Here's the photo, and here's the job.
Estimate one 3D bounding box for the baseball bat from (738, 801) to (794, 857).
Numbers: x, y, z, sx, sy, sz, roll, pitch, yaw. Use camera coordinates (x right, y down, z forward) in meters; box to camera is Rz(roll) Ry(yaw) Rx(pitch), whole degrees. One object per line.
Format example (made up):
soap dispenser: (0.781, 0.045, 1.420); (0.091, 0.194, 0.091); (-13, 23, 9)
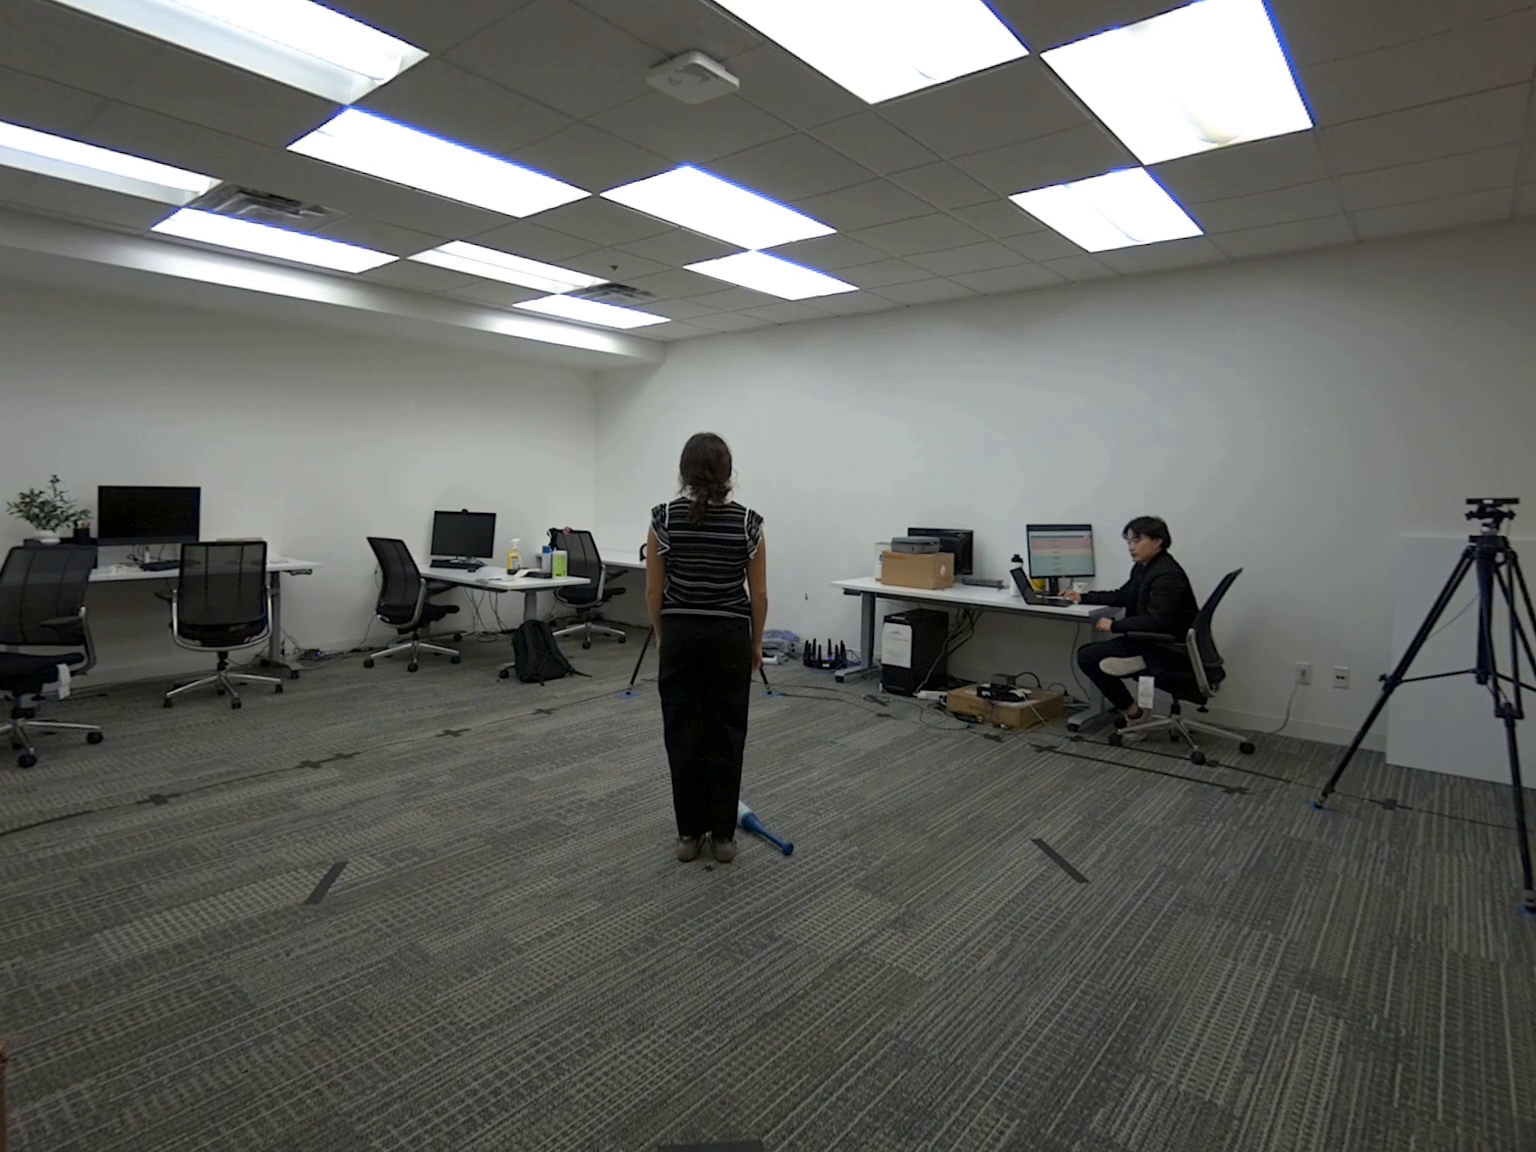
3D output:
baseball bat: (-0.077, 0.999, 3.465); (0.086, 0.088, 0.561); (-2, 9, -32)
